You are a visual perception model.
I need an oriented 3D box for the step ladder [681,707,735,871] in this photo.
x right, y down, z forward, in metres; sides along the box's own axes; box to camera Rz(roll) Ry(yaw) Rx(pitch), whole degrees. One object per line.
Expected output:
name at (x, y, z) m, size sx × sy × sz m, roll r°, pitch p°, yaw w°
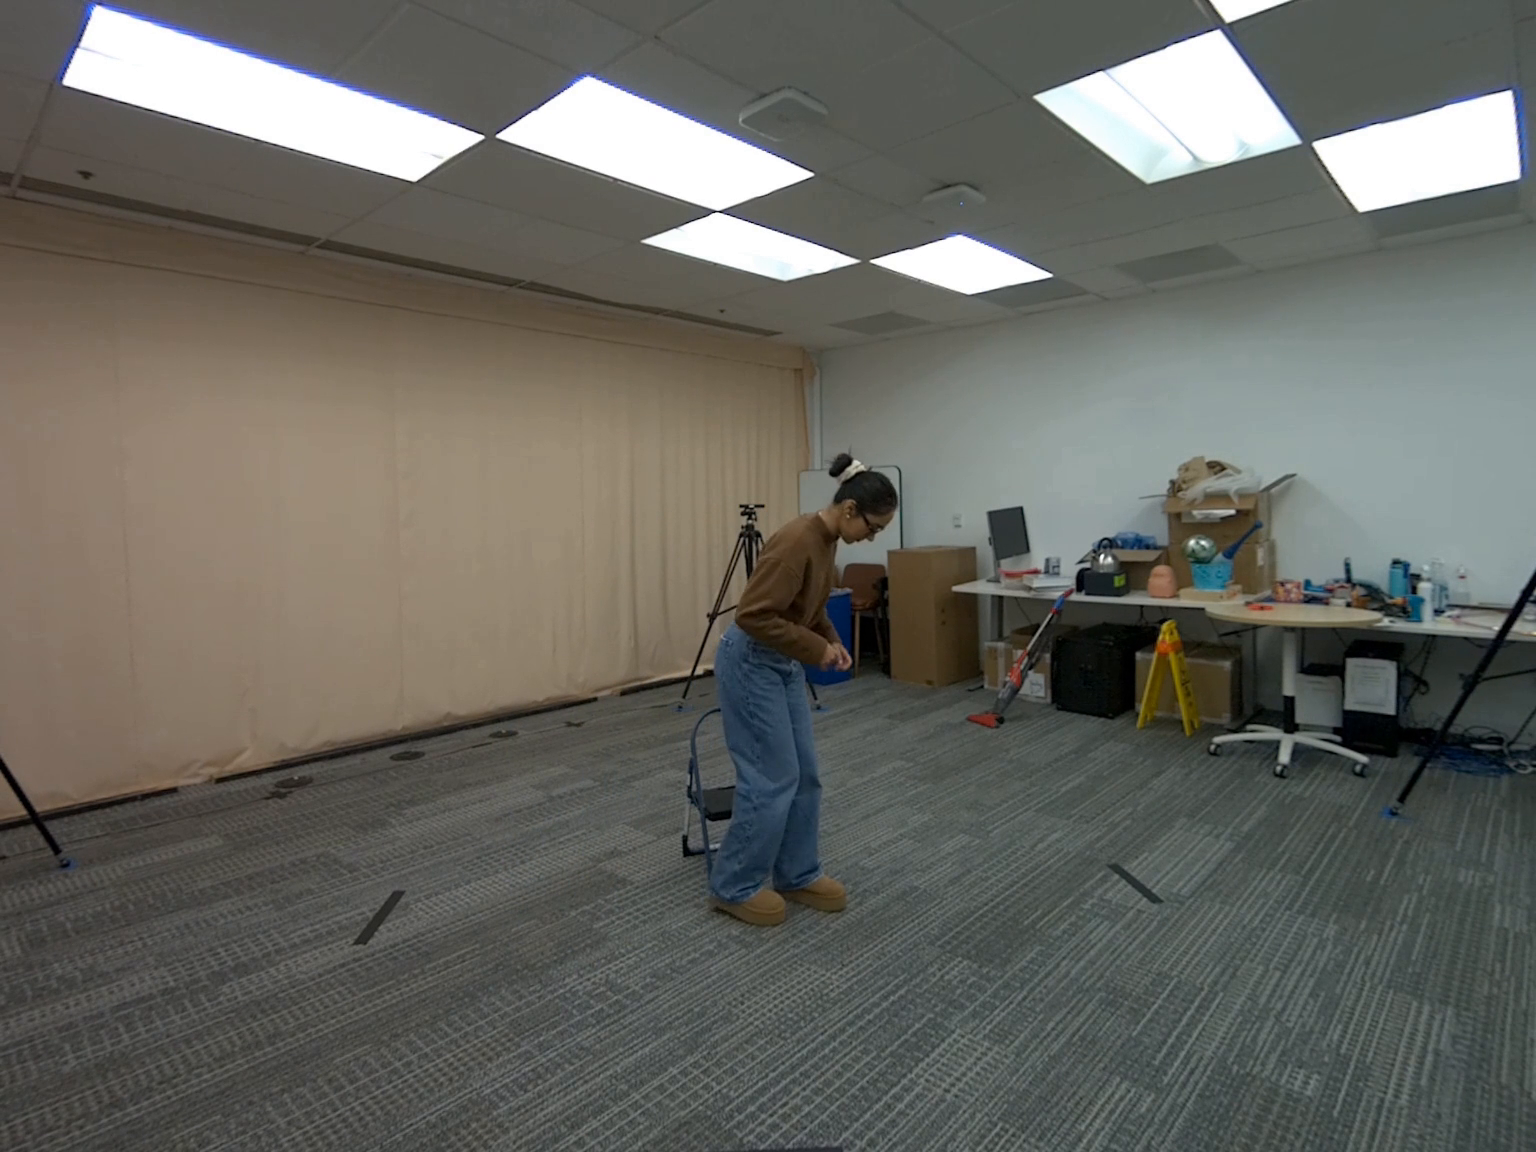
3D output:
step ladder at (-0.086, 0.818, 3.256) m, size 0.421 × 0.604 × 0.358 m, roll -3°, pitch 4°, yaw -23°
